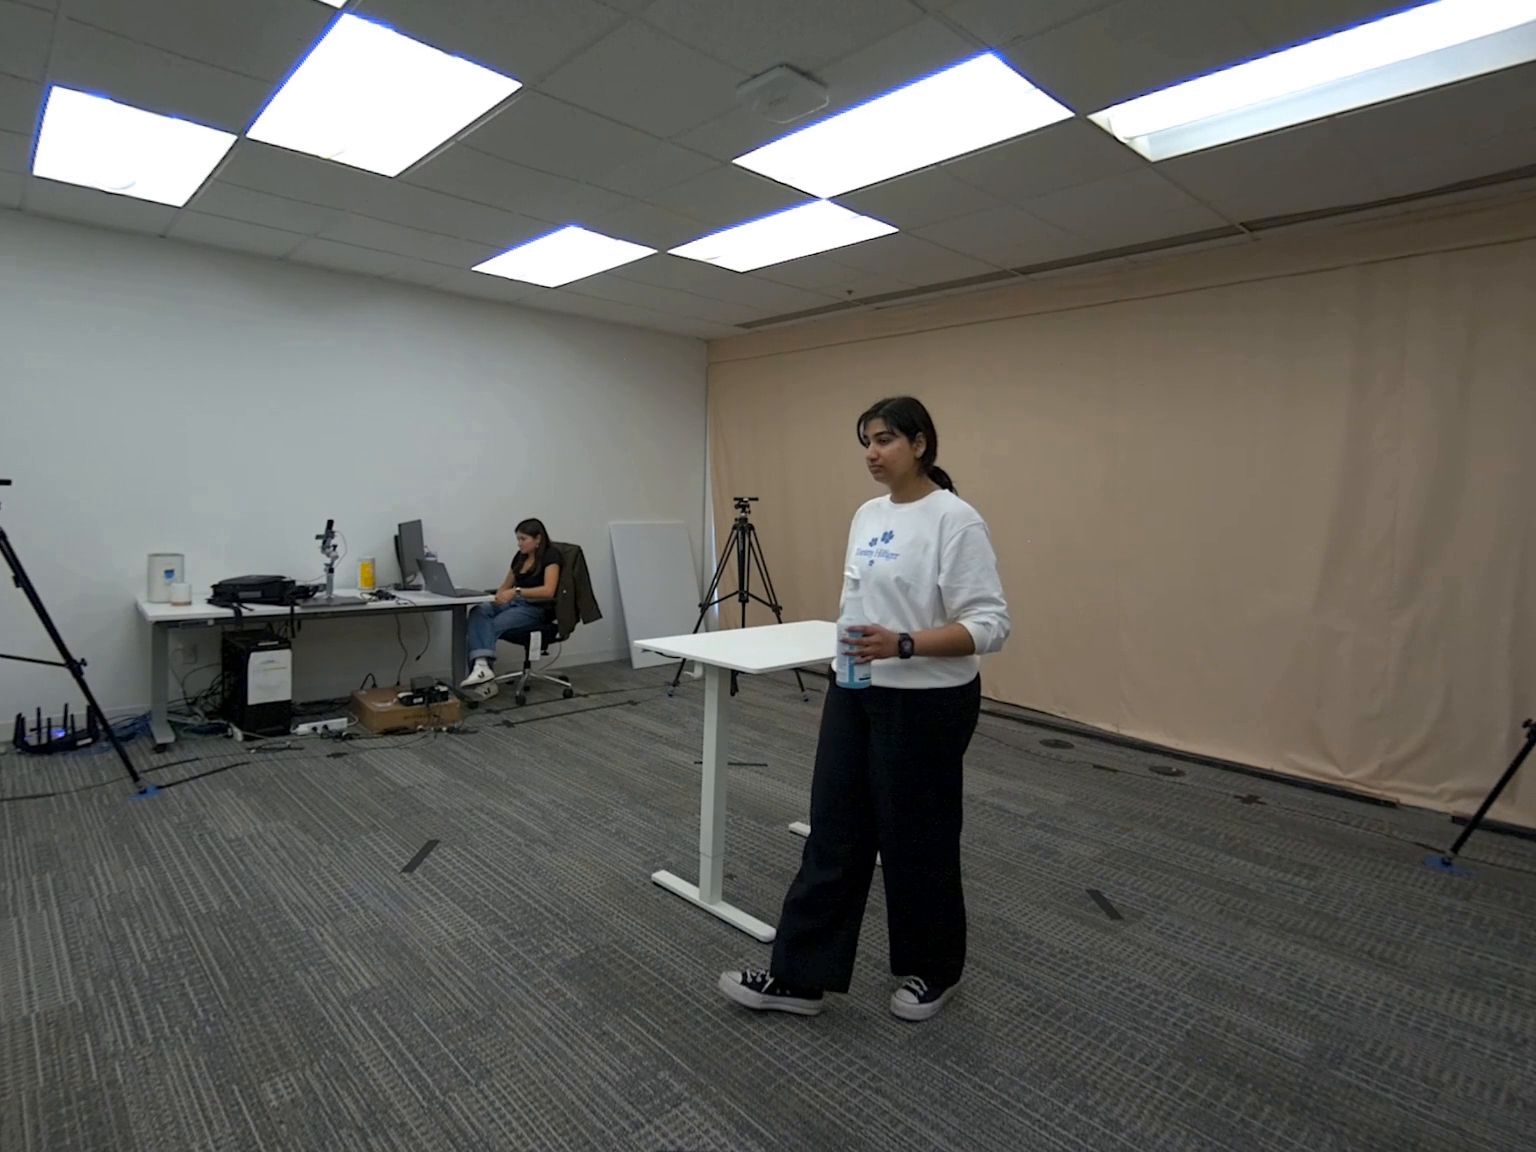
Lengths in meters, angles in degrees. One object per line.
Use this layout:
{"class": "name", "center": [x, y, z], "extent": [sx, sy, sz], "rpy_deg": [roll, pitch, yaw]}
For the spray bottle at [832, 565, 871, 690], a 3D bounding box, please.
{"class": "spray bottle", "center": [0.204, 0.119, 2.085], "extent": [0.088, 0.297, 0.089], "rpy_deg": [-2, 1, 18]}
